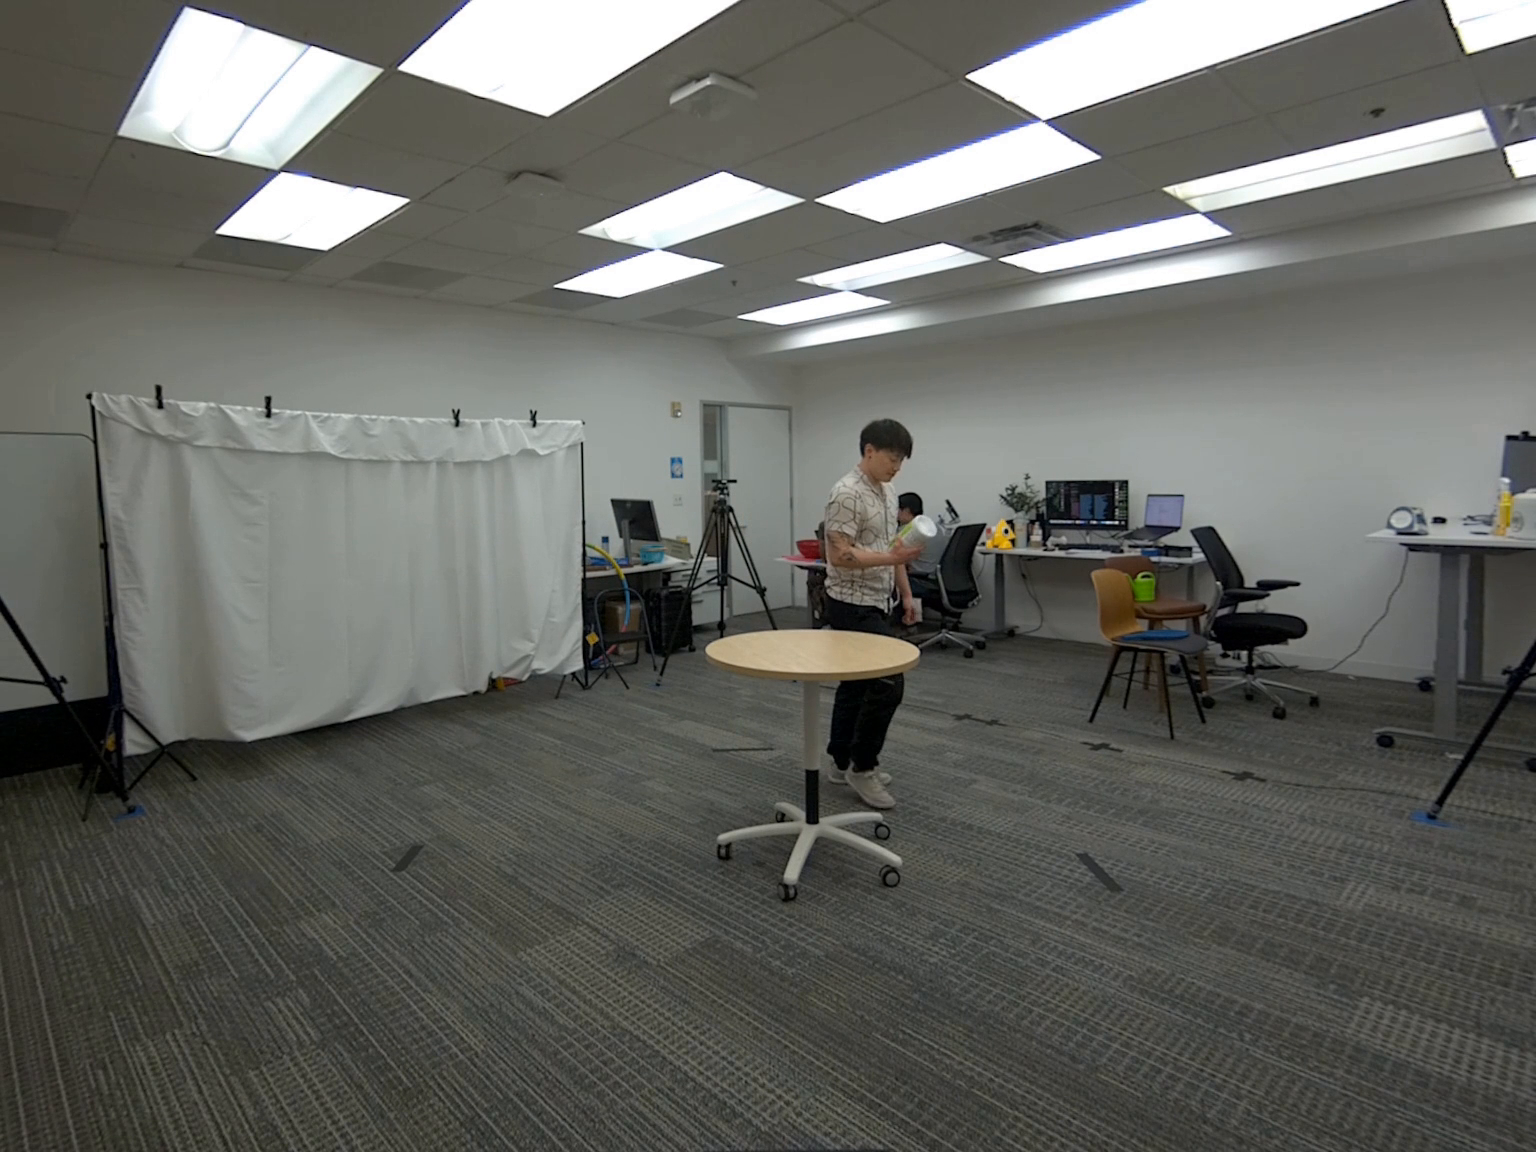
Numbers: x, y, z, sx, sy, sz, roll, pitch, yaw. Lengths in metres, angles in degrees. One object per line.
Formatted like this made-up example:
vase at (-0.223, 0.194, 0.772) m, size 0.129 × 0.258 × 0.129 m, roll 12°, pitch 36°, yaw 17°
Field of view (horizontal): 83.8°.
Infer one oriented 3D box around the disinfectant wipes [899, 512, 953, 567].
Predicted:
disinfectant wipes at (0.634, -0.150, 3.540) m, size 0.115 × 0.121 × 0.216 m, roll -3°, pitch -32°, yaw -27°
